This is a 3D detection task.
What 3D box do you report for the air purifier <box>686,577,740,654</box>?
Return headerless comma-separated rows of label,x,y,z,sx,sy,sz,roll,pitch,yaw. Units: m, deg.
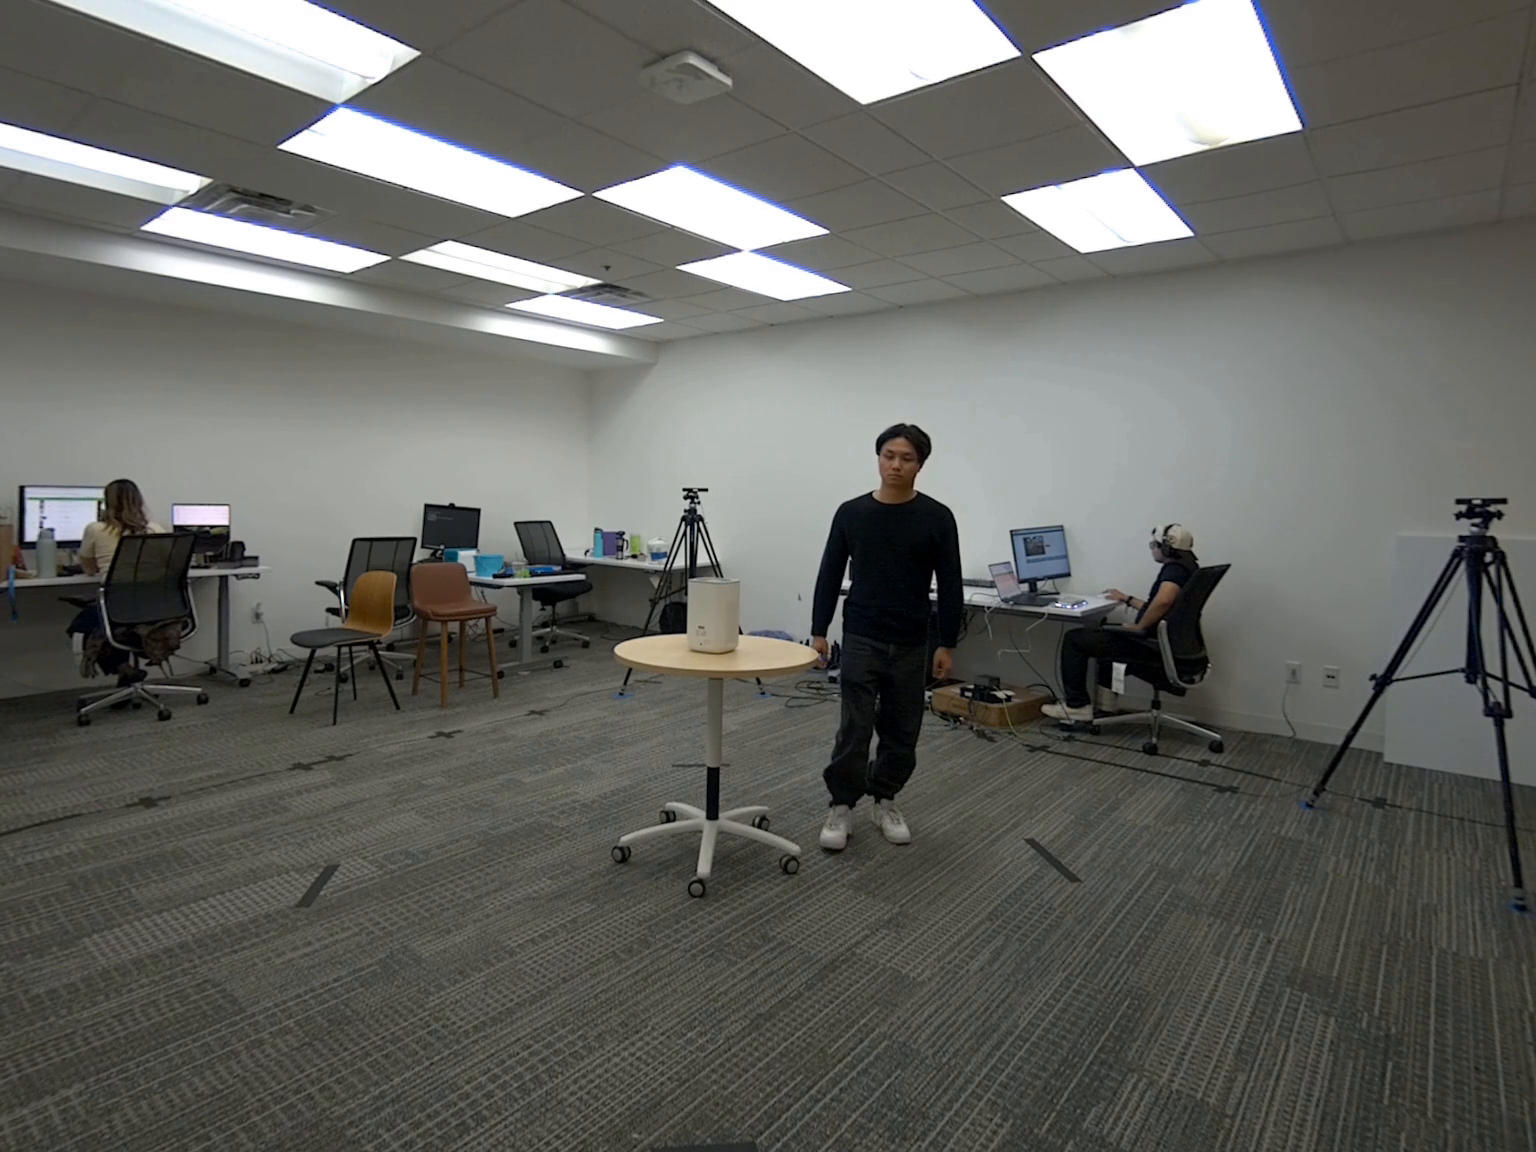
air purifier,-0.212,0.142,3.193,0.176,0.264,0.167,4,4,26
